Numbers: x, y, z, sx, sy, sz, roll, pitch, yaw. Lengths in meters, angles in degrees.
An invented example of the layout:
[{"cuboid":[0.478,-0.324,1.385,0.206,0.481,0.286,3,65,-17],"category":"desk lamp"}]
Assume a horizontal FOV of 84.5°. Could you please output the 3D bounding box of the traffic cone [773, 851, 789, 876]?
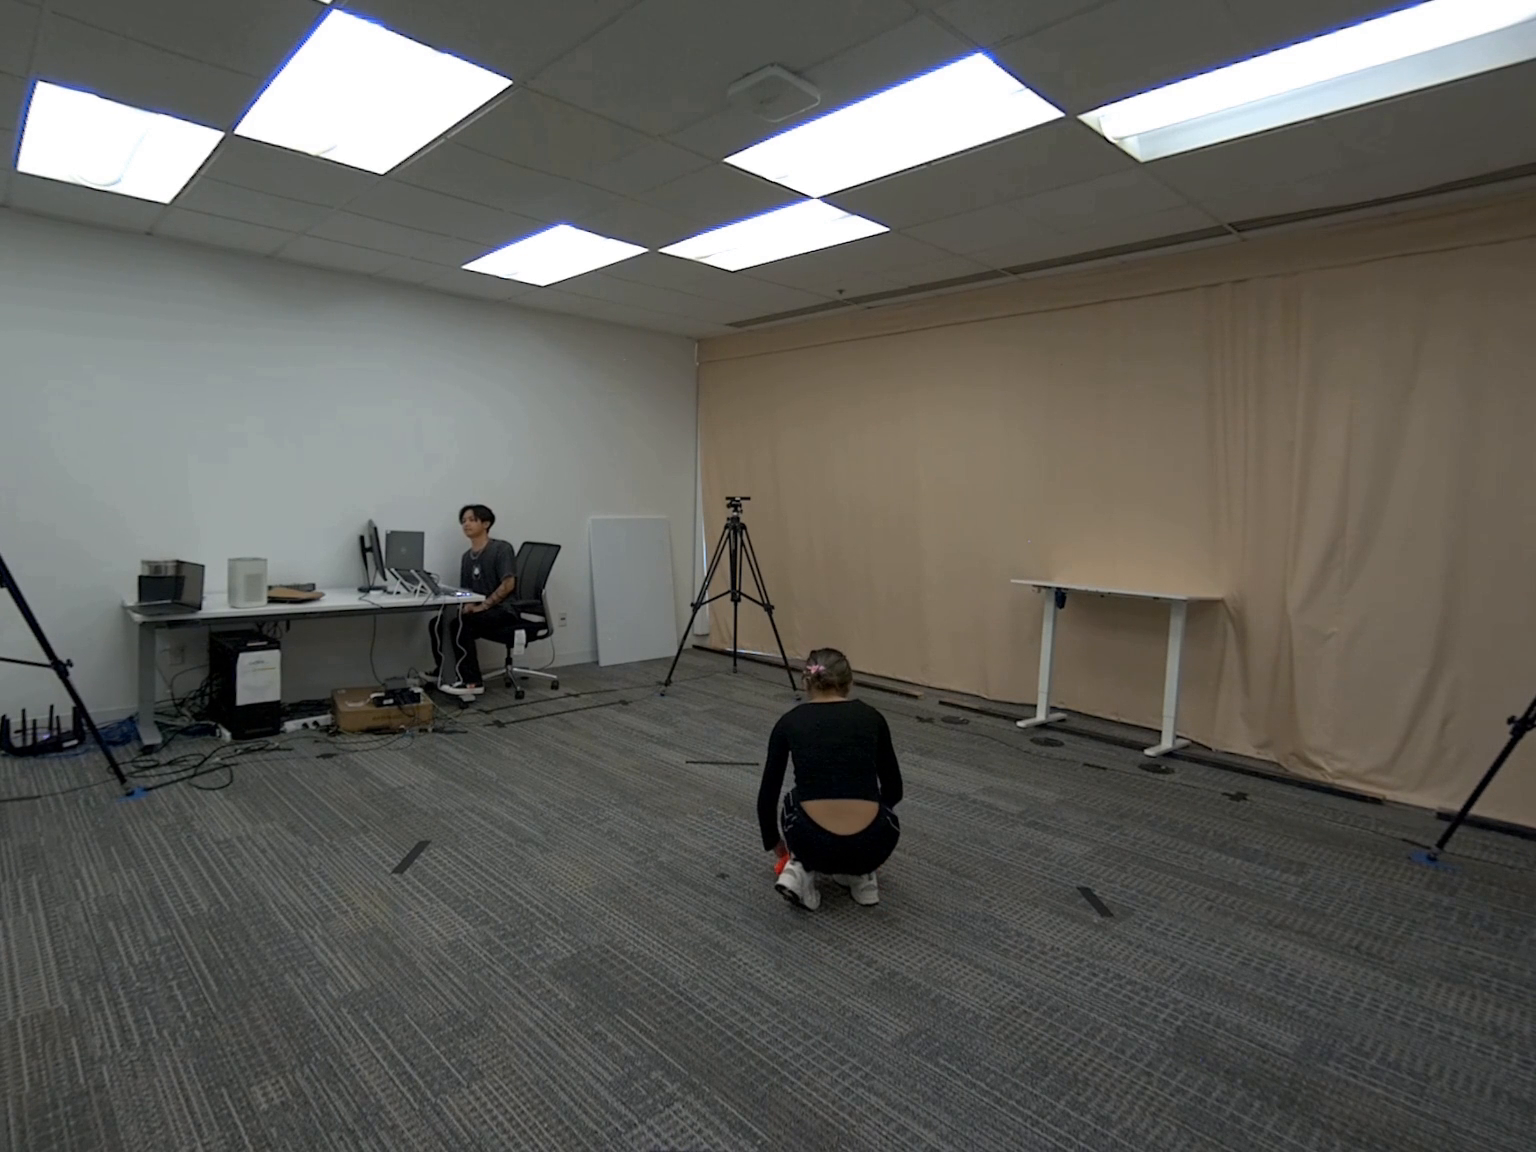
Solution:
[{"cuboid":[0.176,1.041,3.224,0.379,0.210,0.201,-23,-27,-29],"category":"traffic cone"}]
